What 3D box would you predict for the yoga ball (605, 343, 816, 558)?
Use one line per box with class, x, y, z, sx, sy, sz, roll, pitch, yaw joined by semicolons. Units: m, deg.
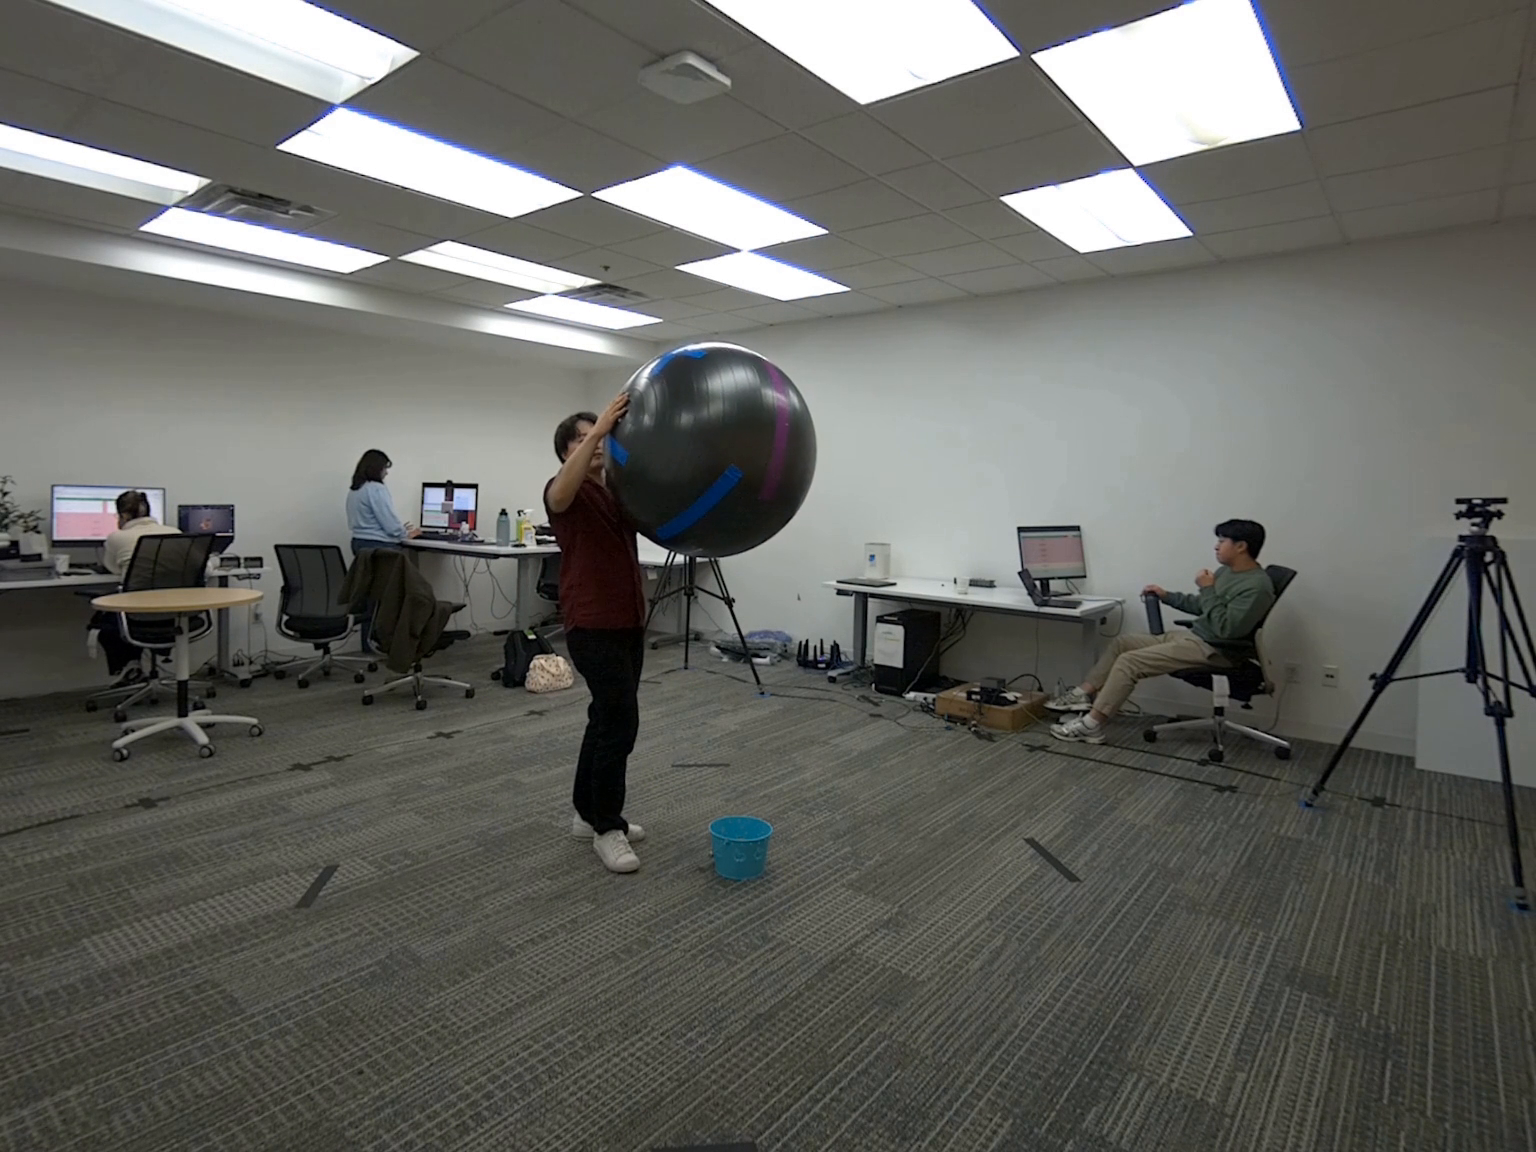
yoga ball;-0.213;-0.438;3.026;0.757;0.756;0.762;1;4;-2
